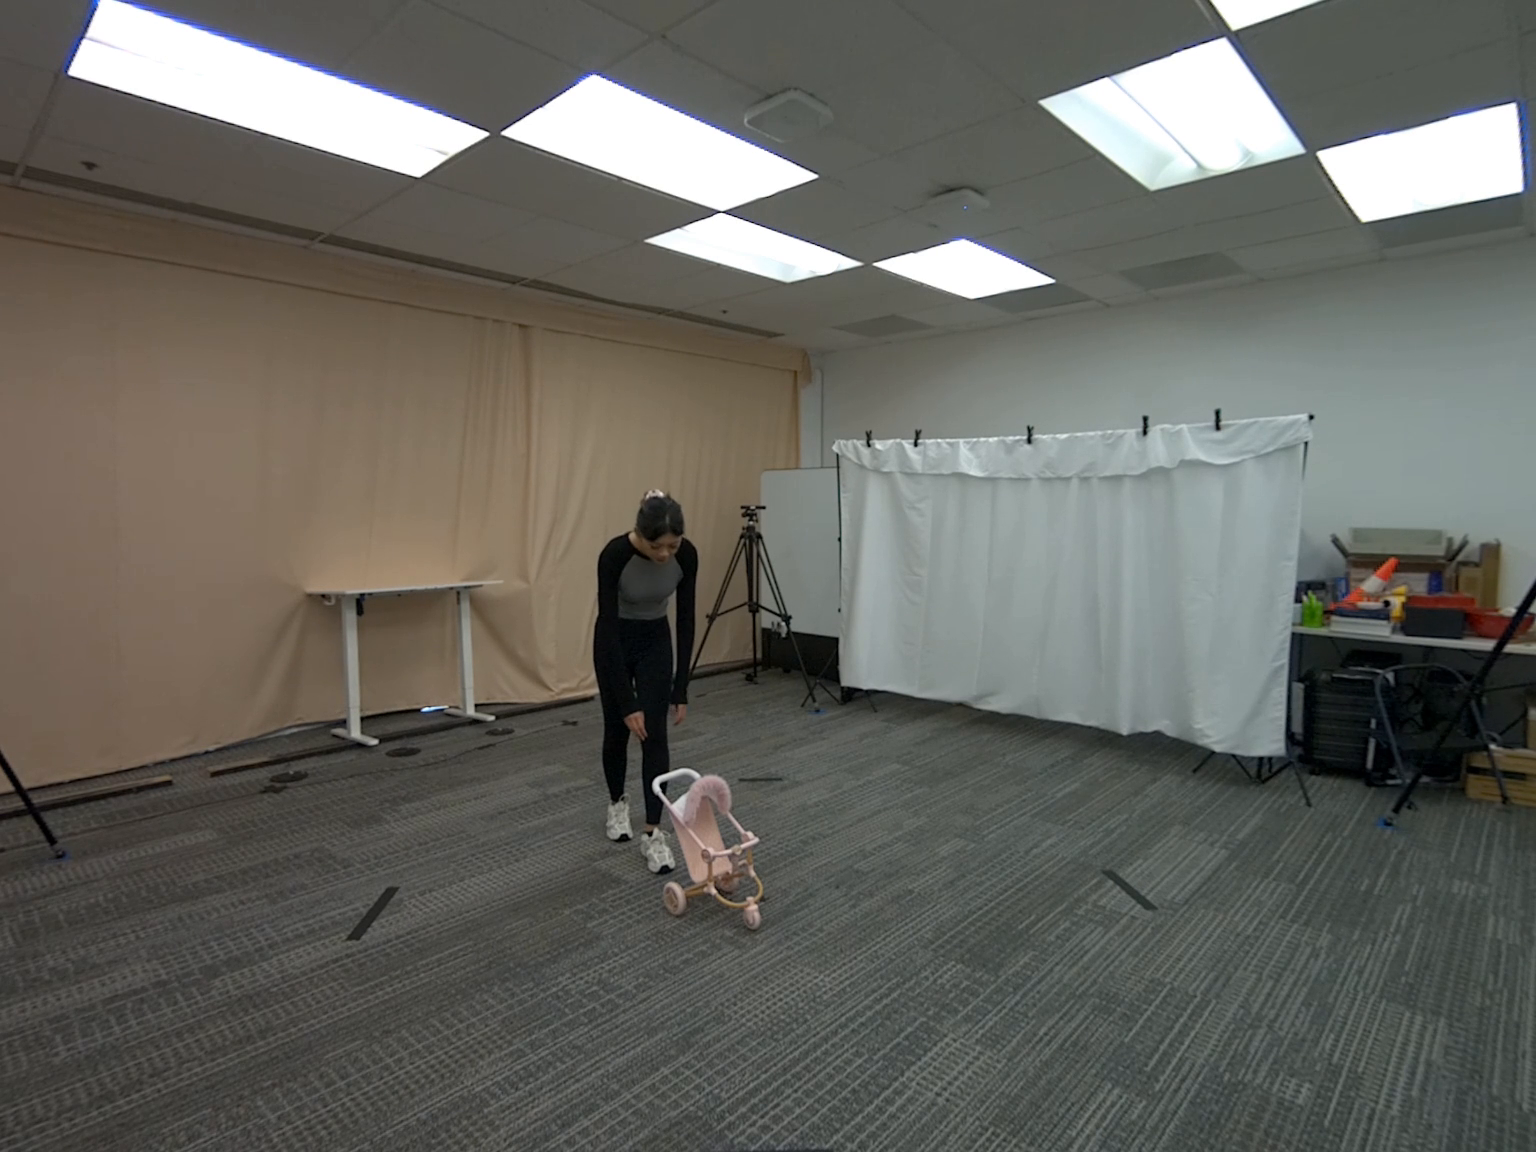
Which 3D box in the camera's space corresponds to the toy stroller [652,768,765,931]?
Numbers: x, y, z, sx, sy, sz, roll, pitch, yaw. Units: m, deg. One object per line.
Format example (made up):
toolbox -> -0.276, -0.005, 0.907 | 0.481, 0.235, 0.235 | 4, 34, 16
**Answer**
toy stroller -> -0.188, 0.930, 2.898 | 0.273, 0.539, 0.349 | -3, -13, -40
